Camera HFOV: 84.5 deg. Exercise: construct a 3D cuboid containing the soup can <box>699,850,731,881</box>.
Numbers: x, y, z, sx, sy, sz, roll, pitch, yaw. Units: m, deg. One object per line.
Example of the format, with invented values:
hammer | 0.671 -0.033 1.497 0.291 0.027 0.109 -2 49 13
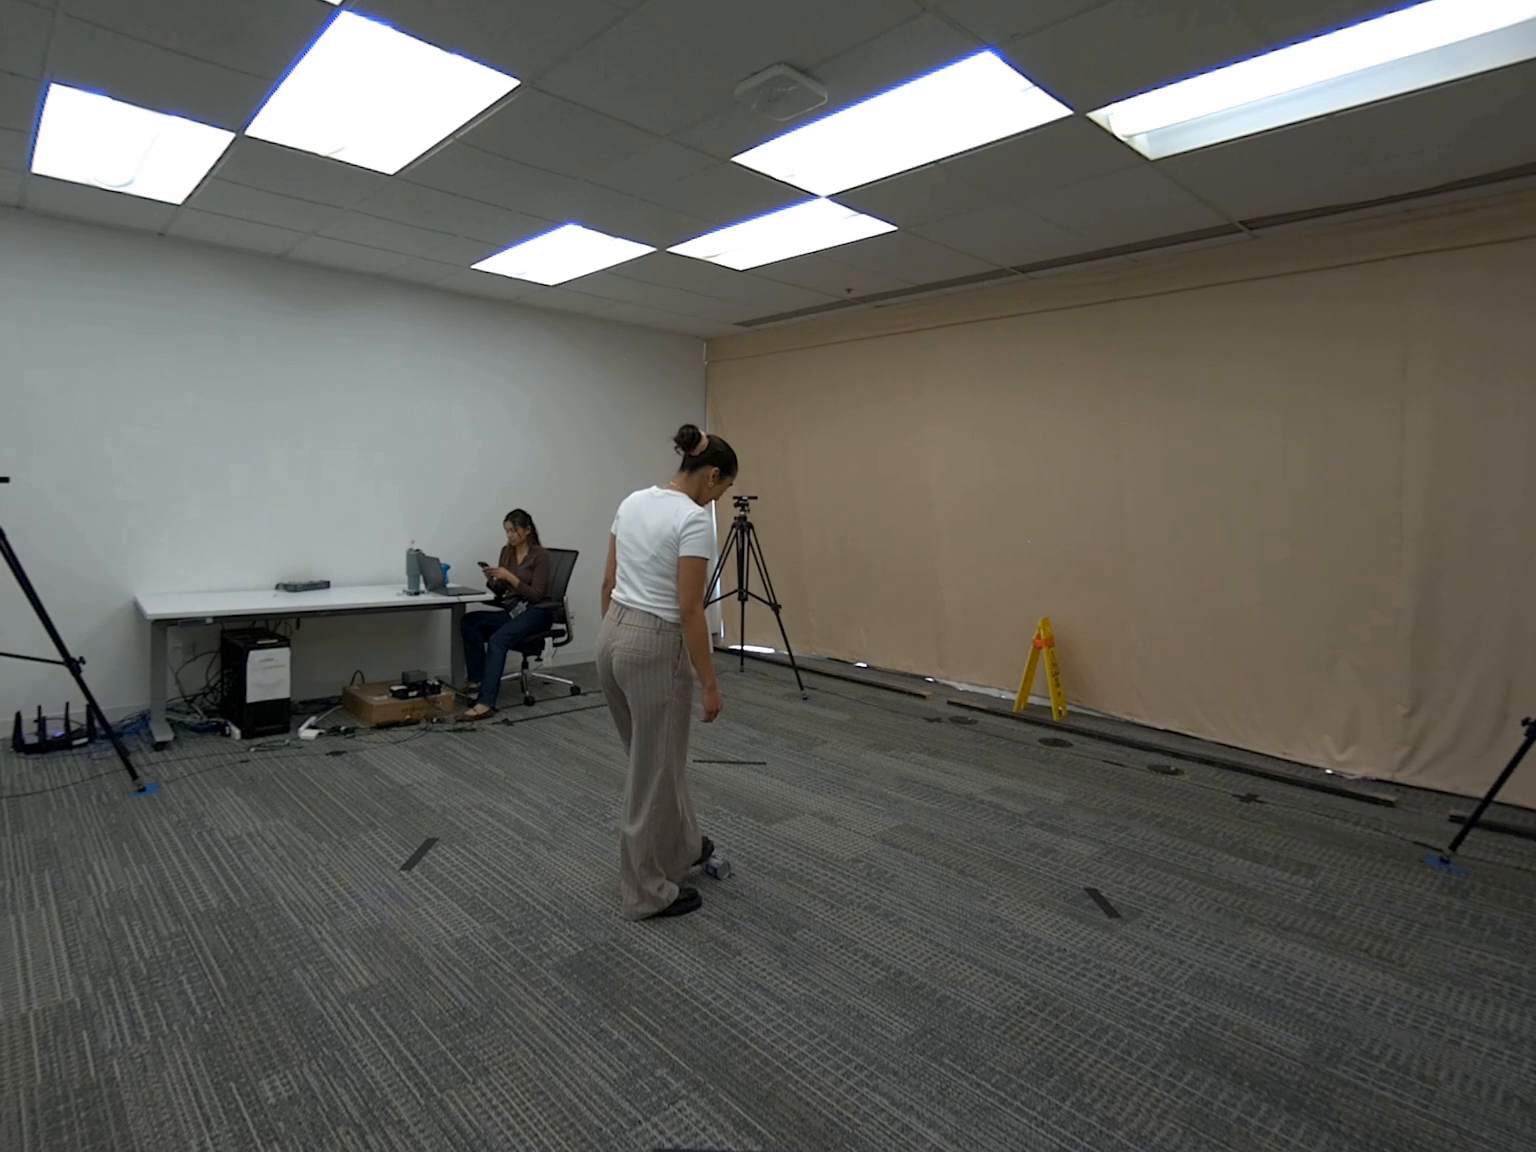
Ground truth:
soup can | -0.206 1.062 3.104 0.065 0.067 0.124 -2 5 -41
